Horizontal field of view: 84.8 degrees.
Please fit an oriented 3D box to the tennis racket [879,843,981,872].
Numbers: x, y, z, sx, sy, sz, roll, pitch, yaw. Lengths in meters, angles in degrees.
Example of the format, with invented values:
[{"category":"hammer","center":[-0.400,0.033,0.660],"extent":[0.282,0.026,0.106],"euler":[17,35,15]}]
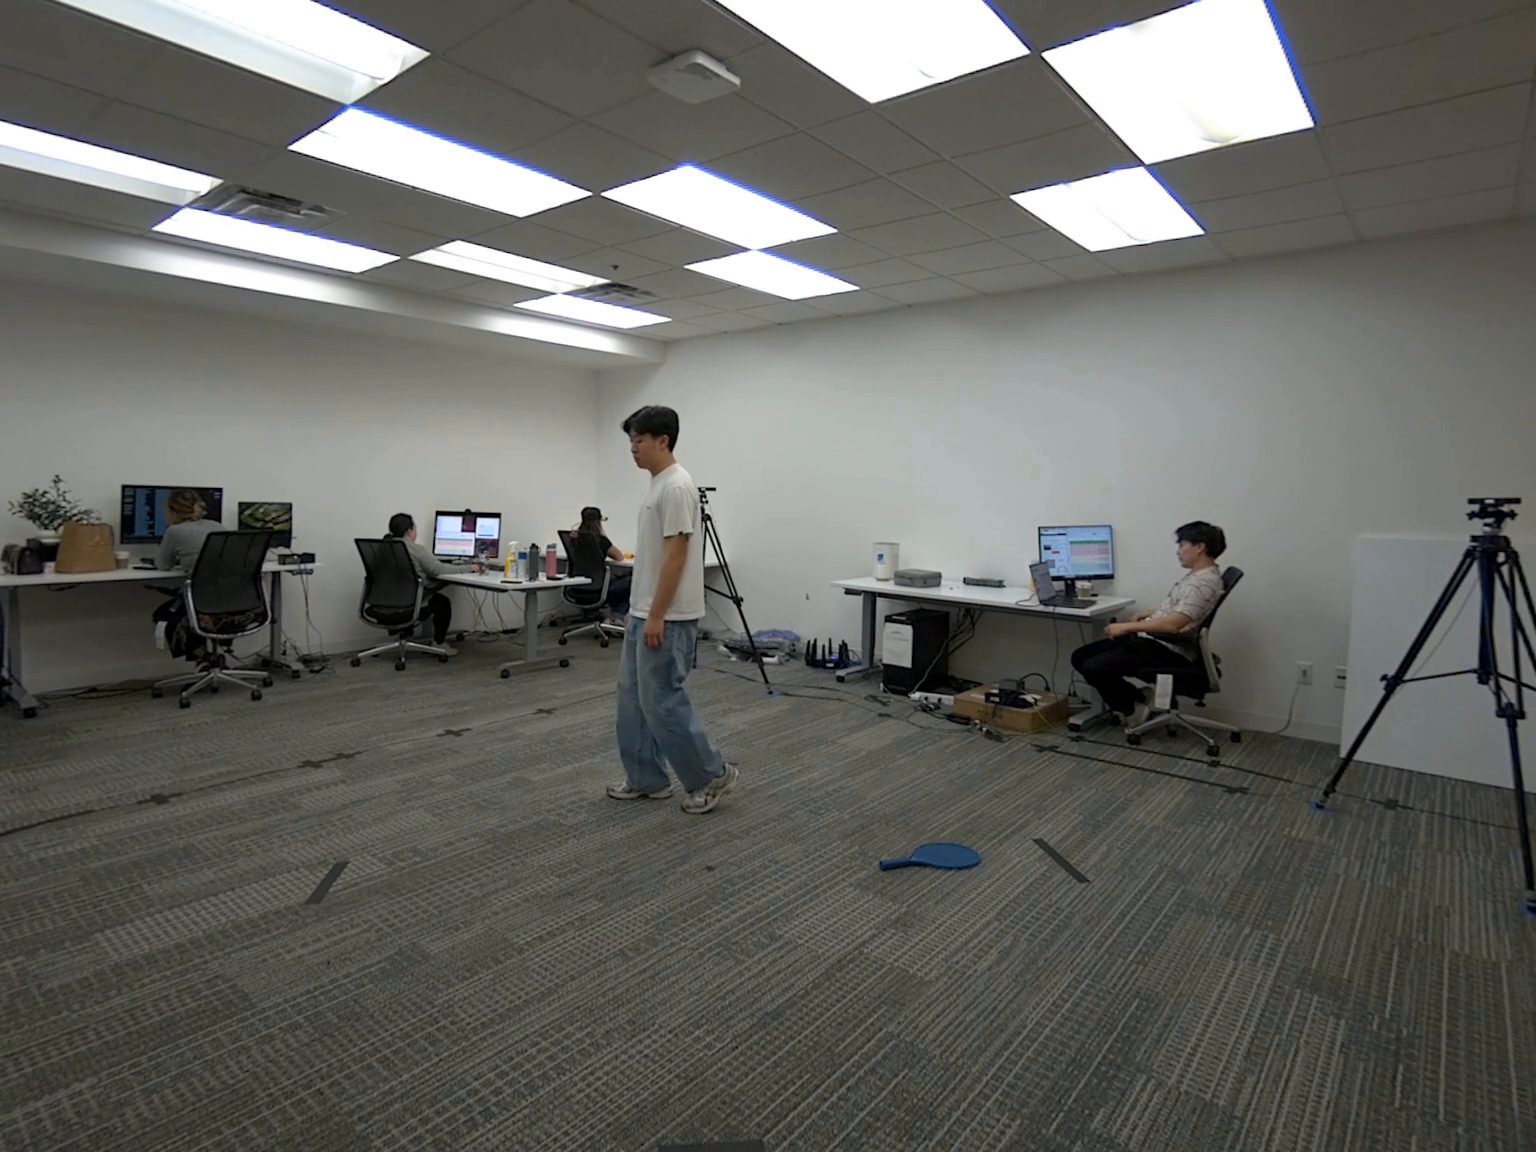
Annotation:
[{"category":"tennis racket","center":[0.600,1.057,3.222],"extent":[0.423,0.031,0.219],"euler":[1,5,-23]}]
